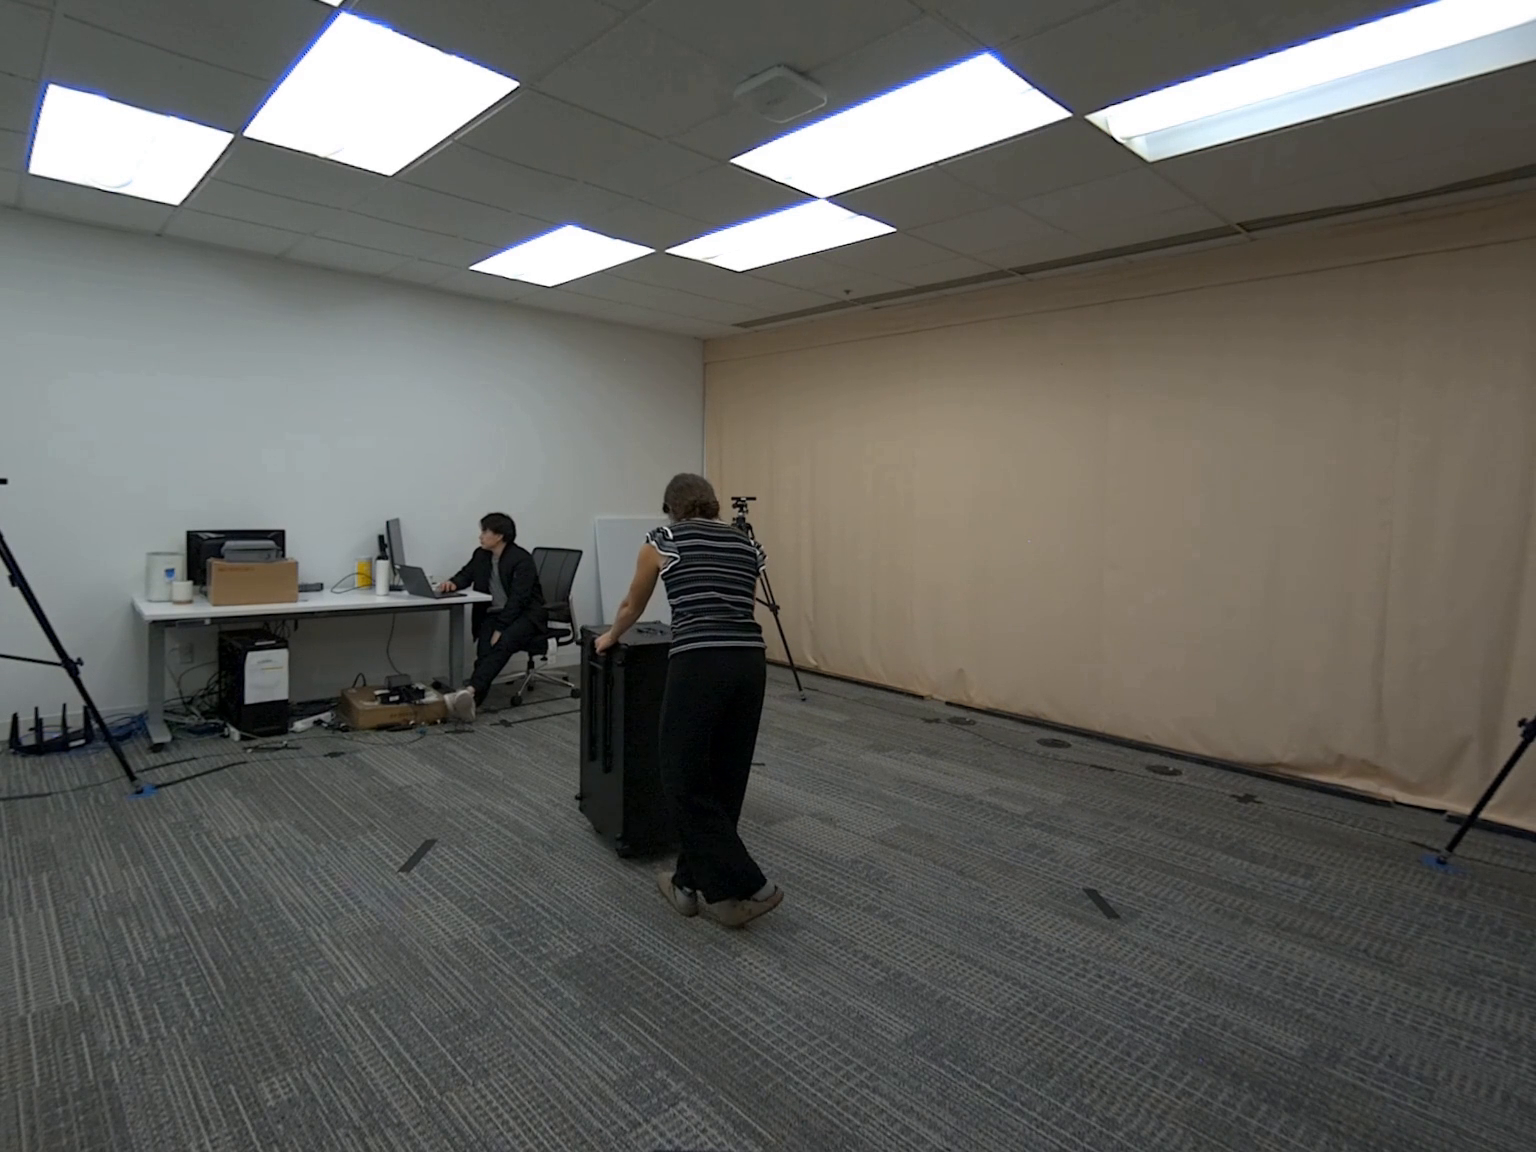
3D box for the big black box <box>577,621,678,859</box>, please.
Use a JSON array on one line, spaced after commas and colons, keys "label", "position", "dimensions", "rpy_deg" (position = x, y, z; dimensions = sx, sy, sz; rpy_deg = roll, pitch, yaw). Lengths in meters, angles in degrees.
[{"label": "big black box", "position": [-0.519, 0.653, 3.368], "dimensions": [0.388, 0.859, 0.533], "rpy_deg": [-2, 5, -30]}]
